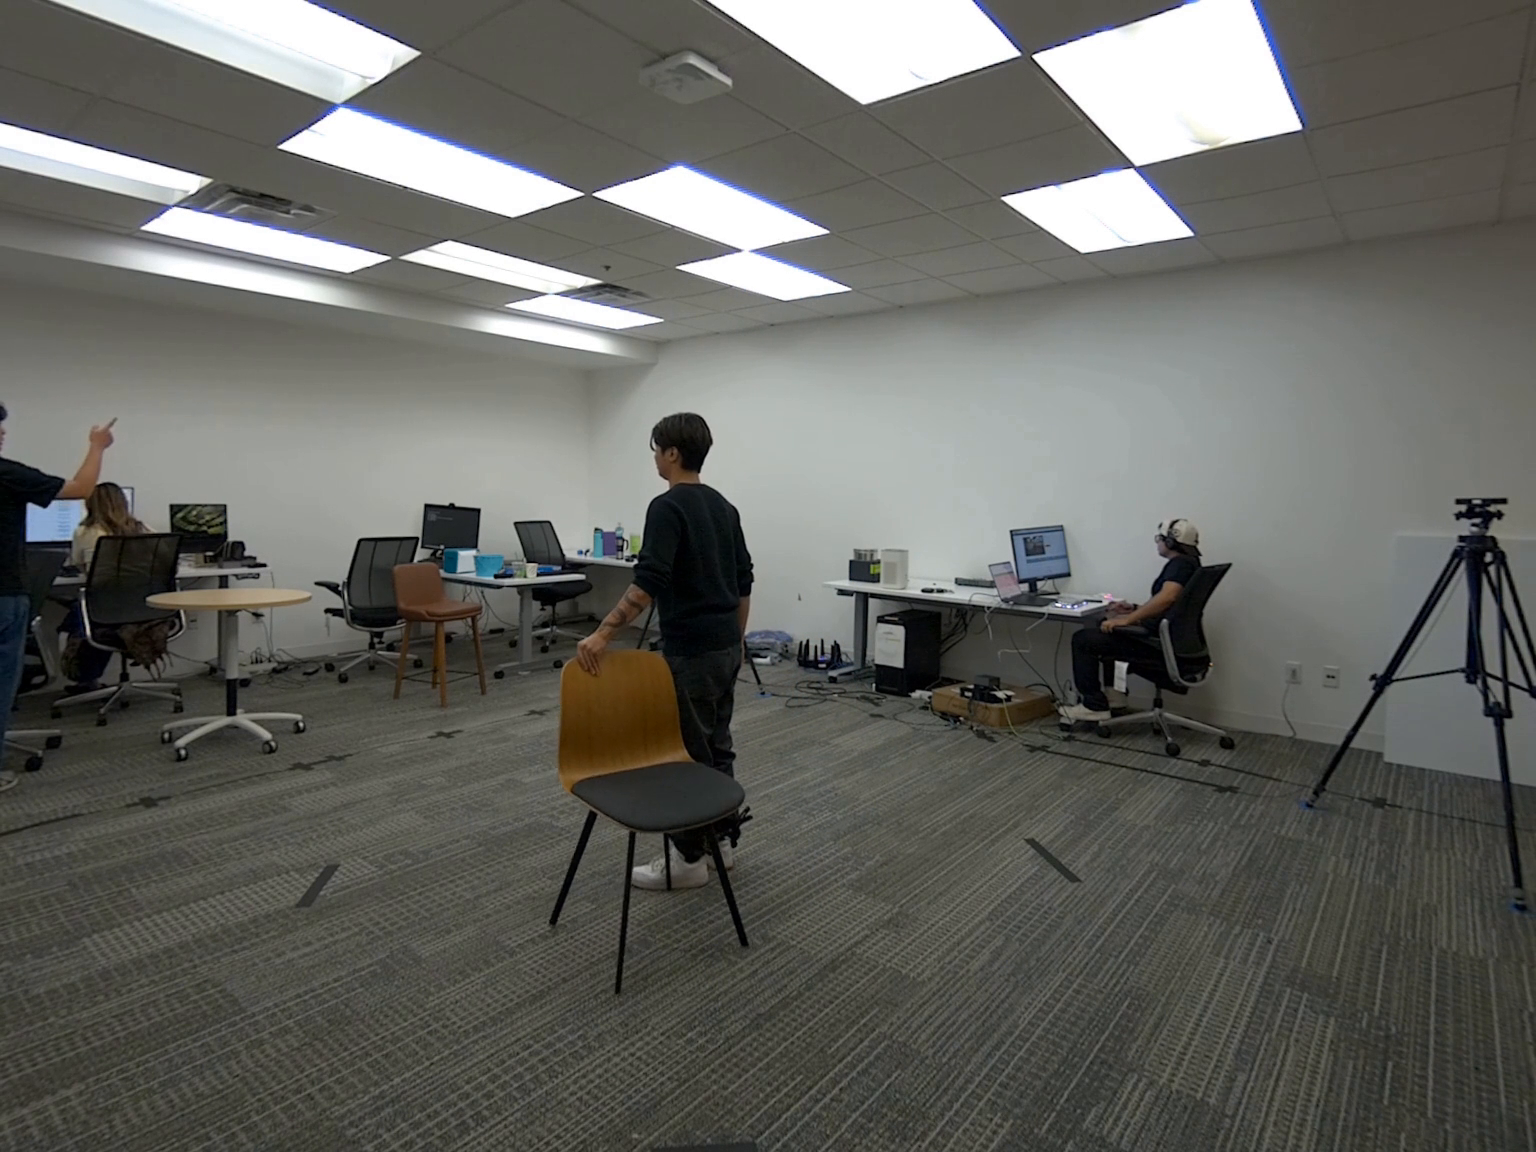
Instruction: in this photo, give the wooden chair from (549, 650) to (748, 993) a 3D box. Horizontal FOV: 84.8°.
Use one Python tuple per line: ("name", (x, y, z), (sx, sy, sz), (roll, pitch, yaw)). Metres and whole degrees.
("wooden chair", (-0.374, 0.692, 2.601), (0.464, 0.878, 0.539), (-1, 0, -37))
